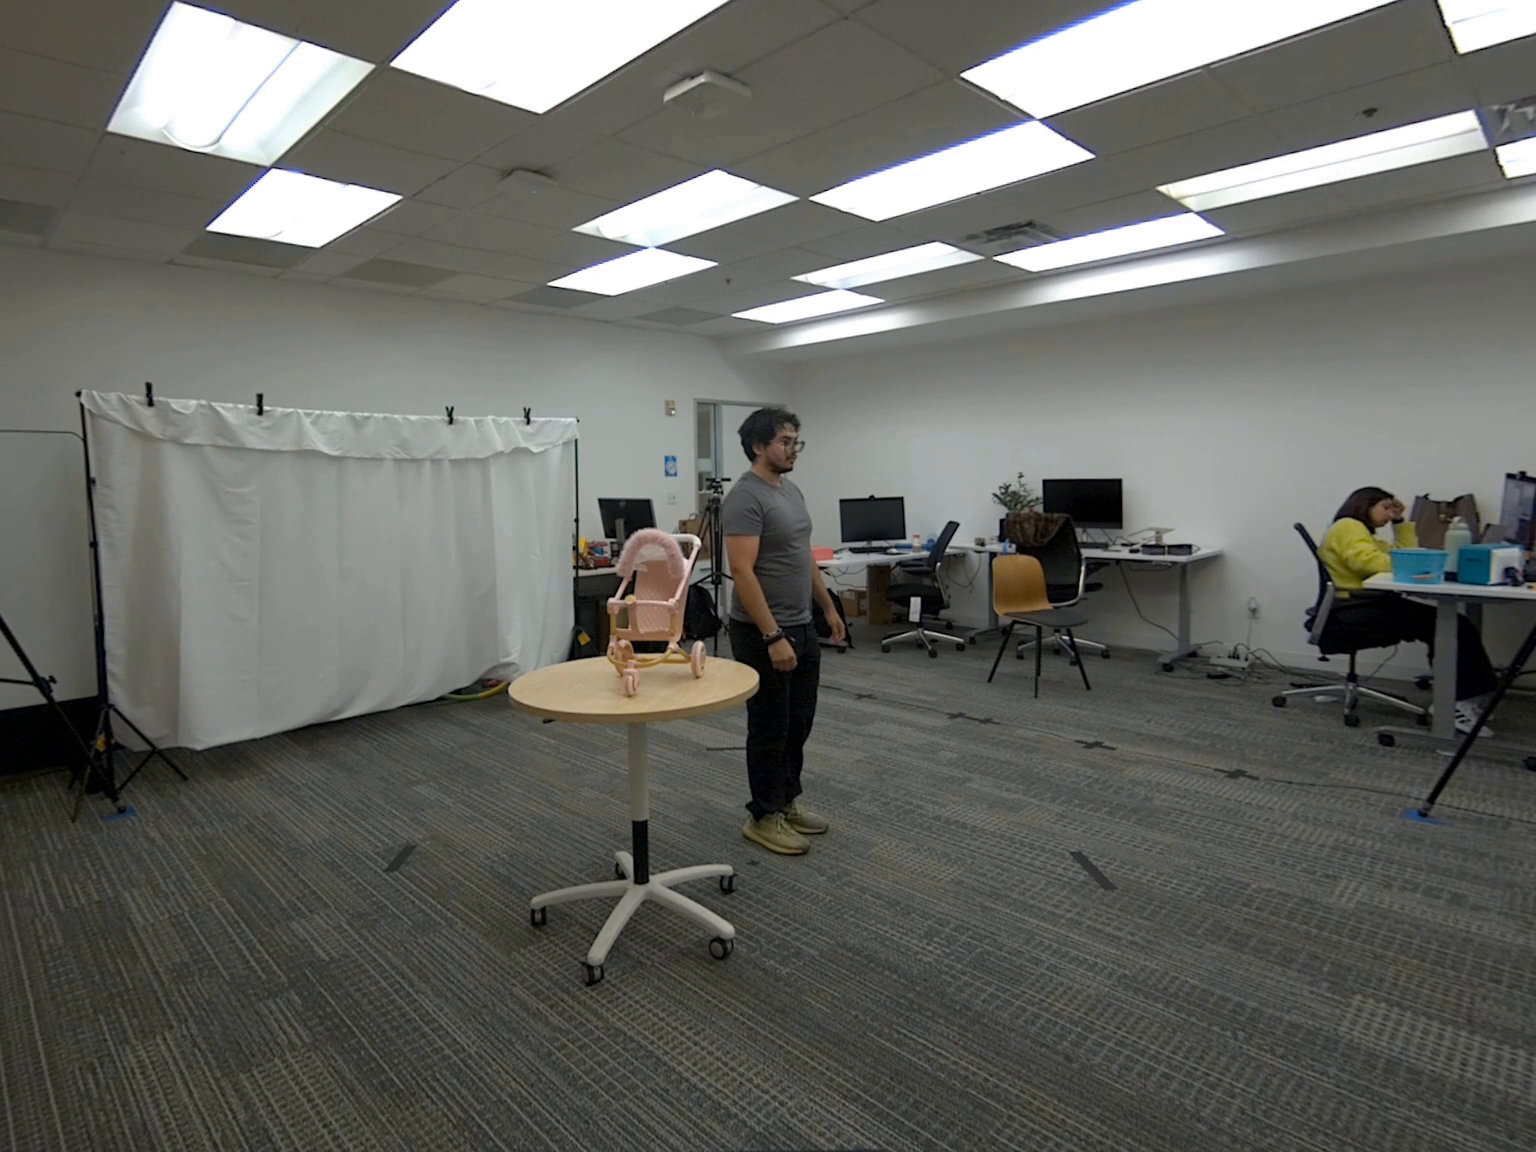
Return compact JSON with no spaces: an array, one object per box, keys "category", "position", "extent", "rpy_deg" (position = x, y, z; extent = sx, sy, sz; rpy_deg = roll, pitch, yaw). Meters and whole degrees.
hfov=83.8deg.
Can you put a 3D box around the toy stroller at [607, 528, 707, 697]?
[{"category":"toy stroller","position":[-0.358,0.099,2.606],"extent":[0.286,0.540,0.332],"rpy_deg":[0,-11,17]}]
